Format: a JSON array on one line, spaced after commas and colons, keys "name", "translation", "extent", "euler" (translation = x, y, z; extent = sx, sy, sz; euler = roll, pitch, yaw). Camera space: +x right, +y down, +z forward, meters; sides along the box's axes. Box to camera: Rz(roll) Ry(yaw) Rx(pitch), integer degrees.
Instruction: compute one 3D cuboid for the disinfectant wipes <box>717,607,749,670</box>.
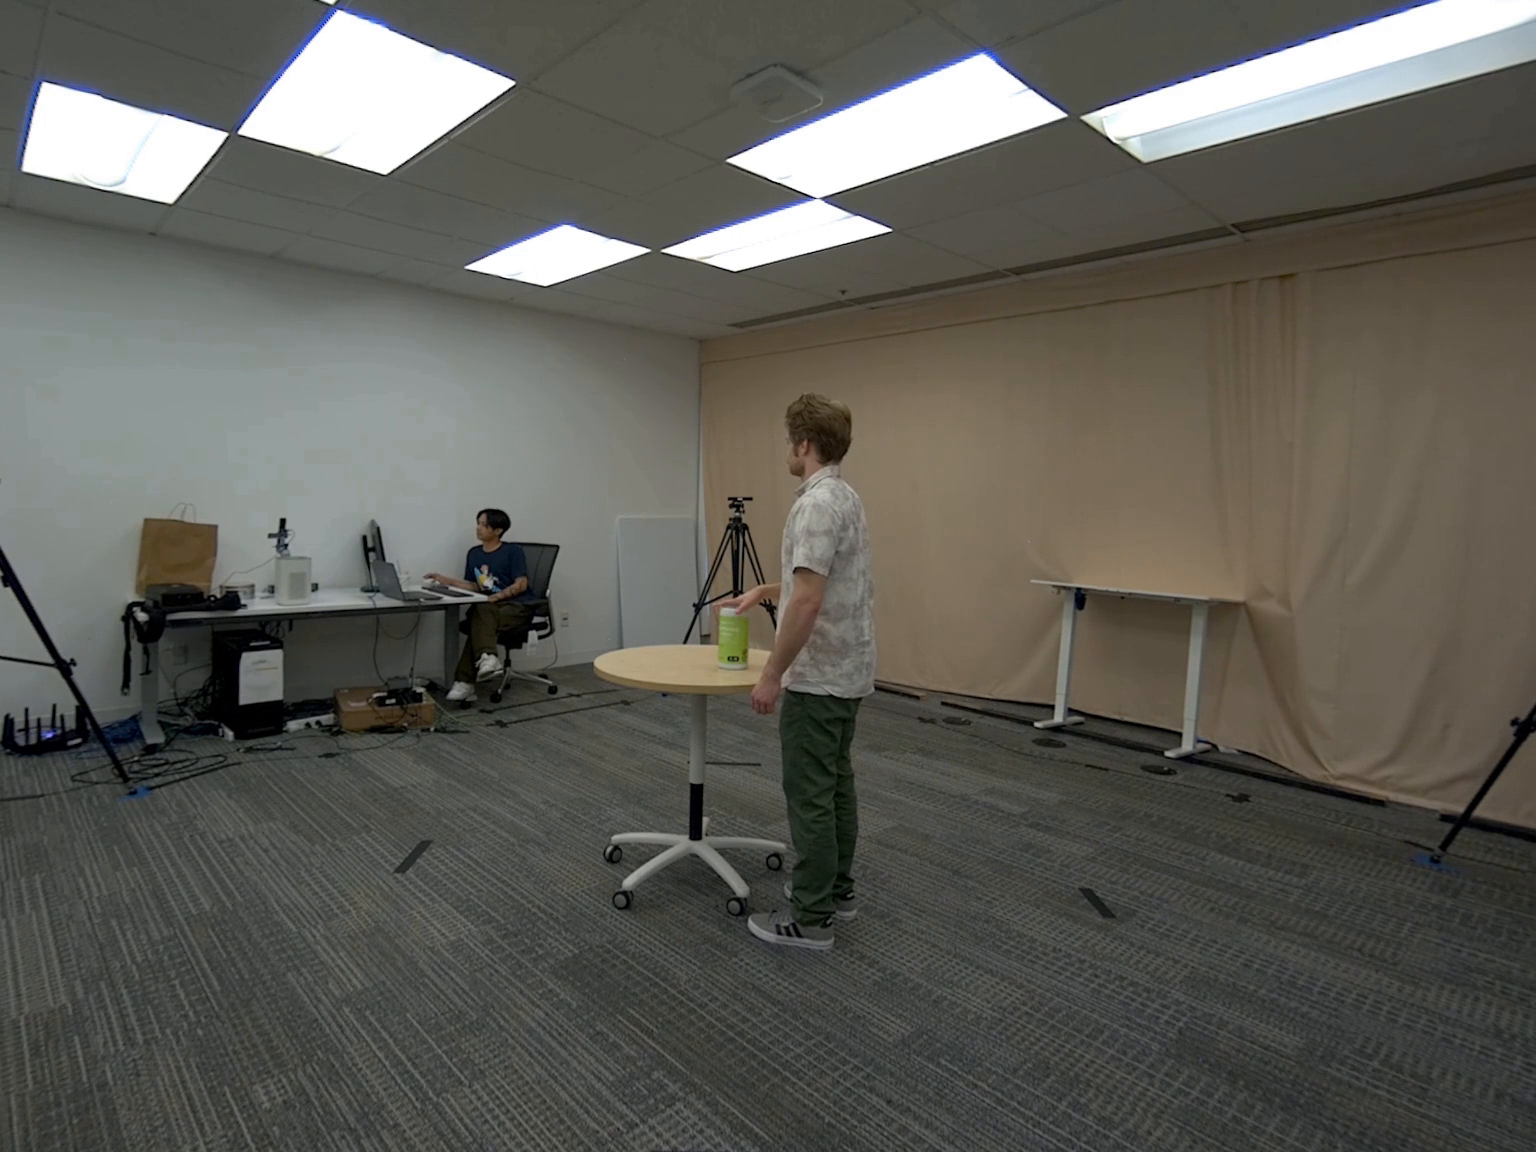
[{"name": "disinfectant wipes", "translation": [-0.128, 0.220, 2.998], "extent": [0.118, 0.216, 0.118], "euler": [2, 6, -2]}]
